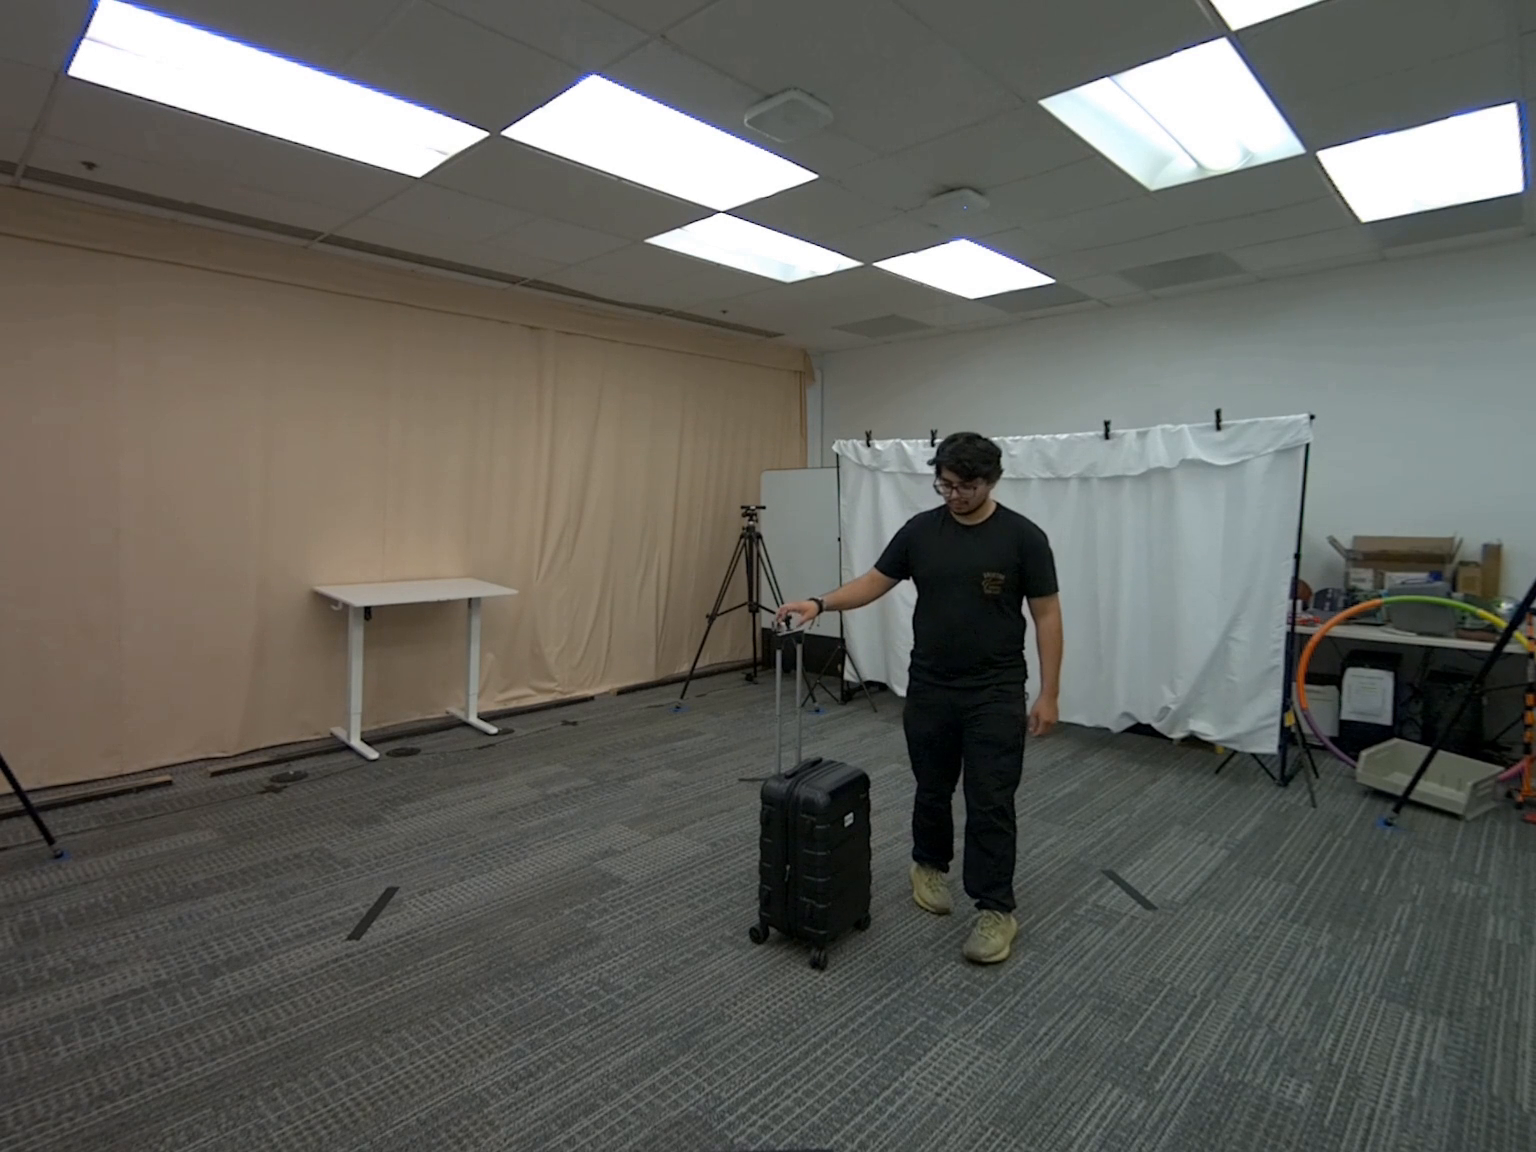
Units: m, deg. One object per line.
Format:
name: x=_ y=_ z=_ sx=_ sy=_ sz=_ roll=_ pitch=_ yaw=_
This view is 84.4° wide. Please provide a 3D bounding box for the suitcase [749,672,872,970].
suitcase: x=0.165 y=0.691 z=2.710 sx=0.265 sy=0.976 sz=0.372 roll=3 pitch=4 yaw=36
